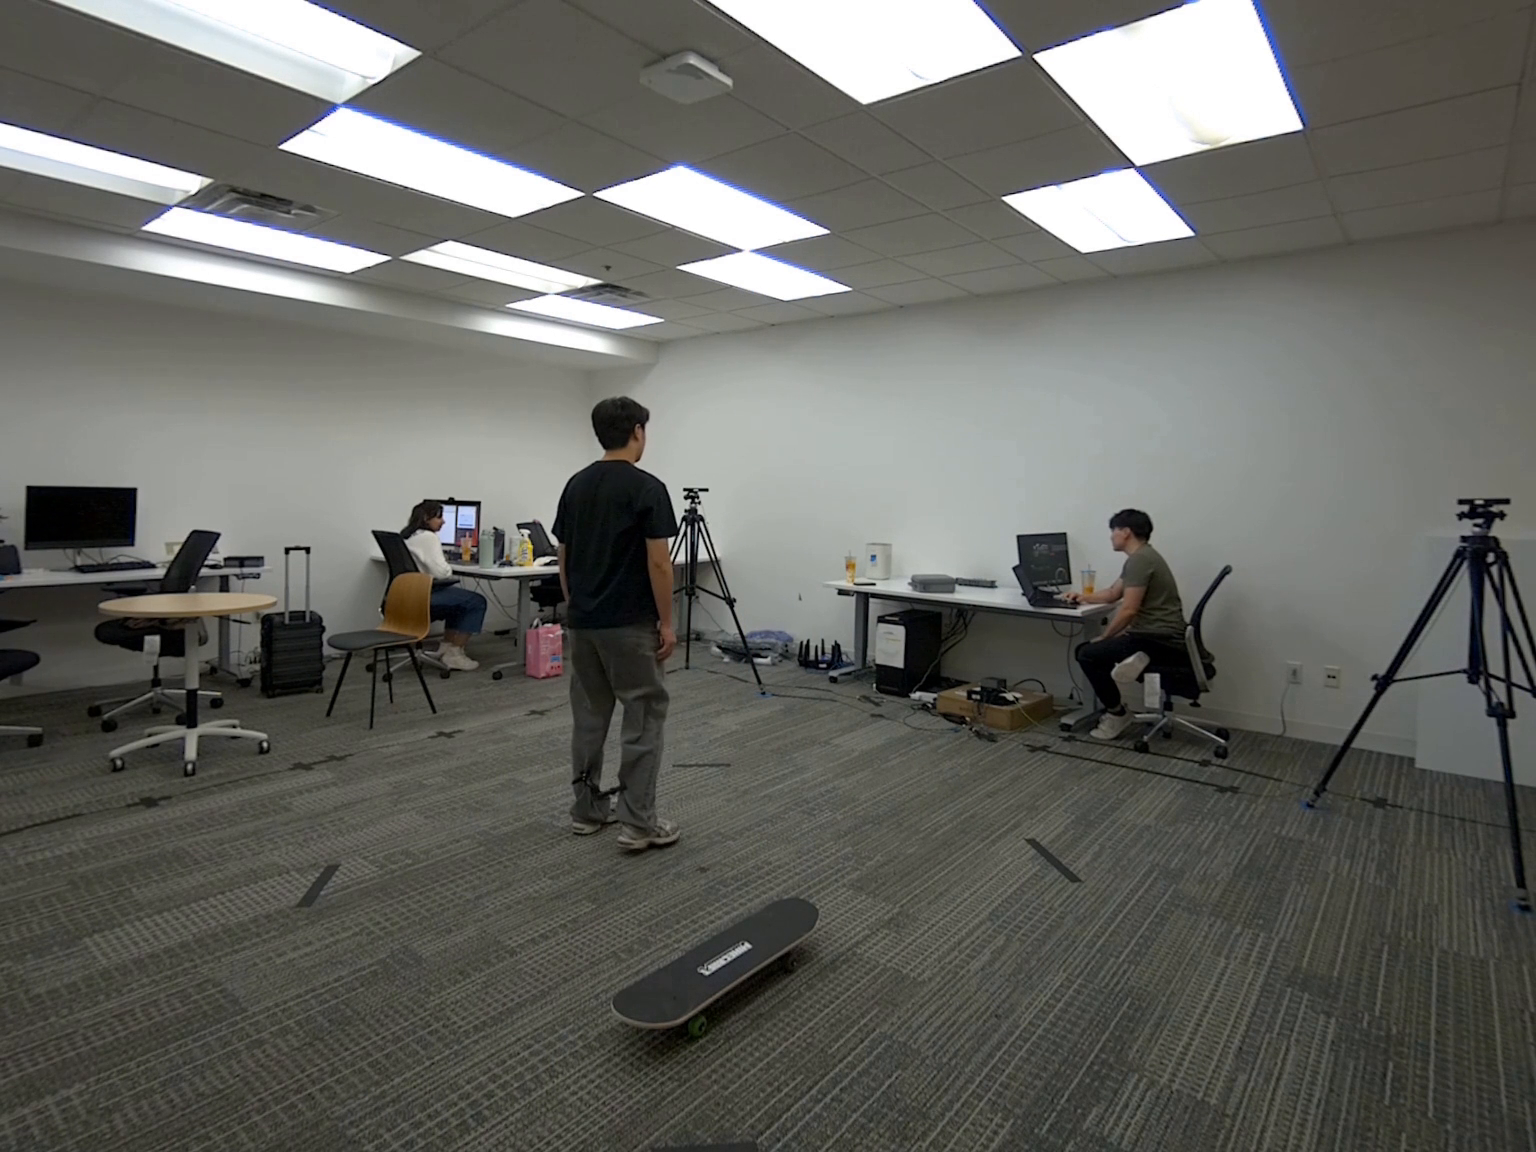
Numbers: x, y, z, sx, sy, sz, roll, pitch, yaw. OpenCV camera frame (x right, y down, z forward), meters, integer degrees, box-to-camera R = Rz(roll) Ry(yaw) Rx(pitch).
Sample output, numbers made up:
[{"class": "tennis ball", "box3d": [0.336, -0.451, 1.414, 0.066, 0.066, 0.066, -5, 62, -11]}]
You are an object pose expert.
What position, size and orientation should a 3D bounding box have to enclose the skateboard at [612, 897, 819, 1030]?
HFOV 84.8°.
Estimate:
[{"class": "skateboard", "box3d": [-0.123, 1.090, 2.362, 0.200, 0.110, 0.763, 6, 8, 39]}]
